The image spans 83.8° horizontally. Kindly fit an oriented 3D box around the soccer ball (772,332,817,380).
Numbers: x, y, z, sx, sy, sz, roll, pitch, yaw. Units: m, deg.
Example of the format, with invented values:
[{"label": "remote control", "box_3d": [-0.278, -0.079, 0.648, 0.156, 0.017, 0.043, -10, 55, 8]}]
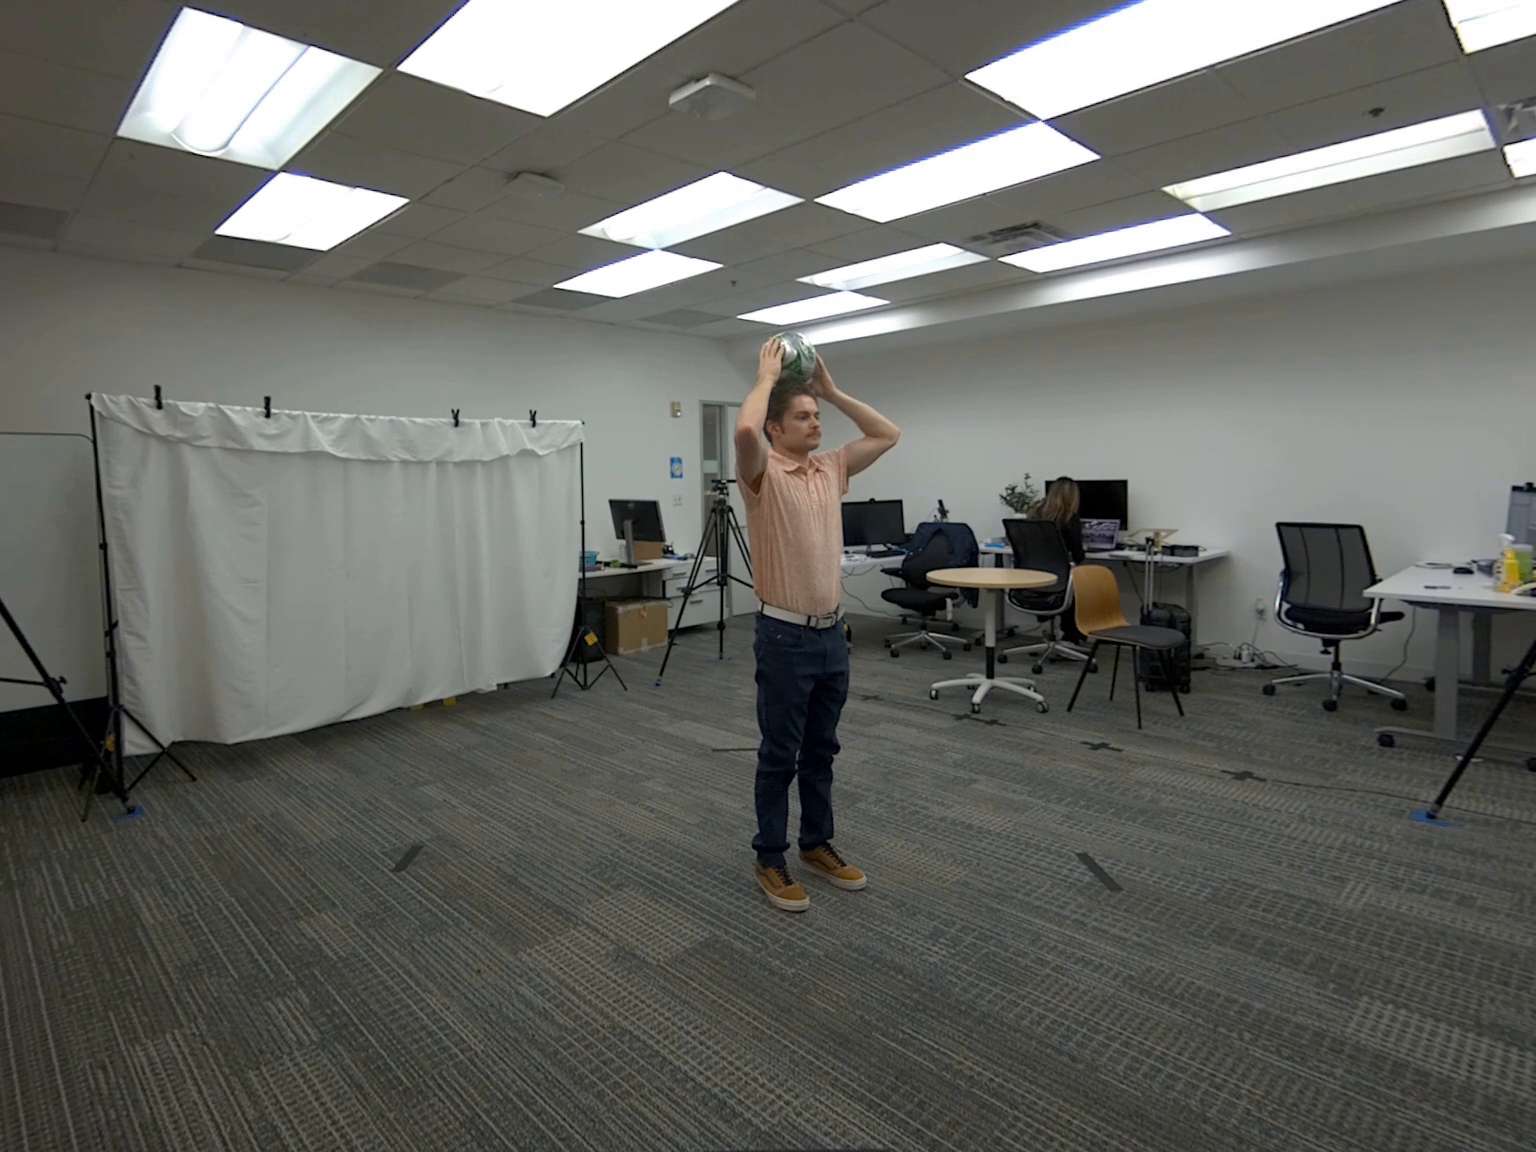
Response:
[{"label": "soccer ball", "box_3d": [0.071, -0.723, 2.882, 0.187, 0.187, 0.188, -1, 5, -2]}]
